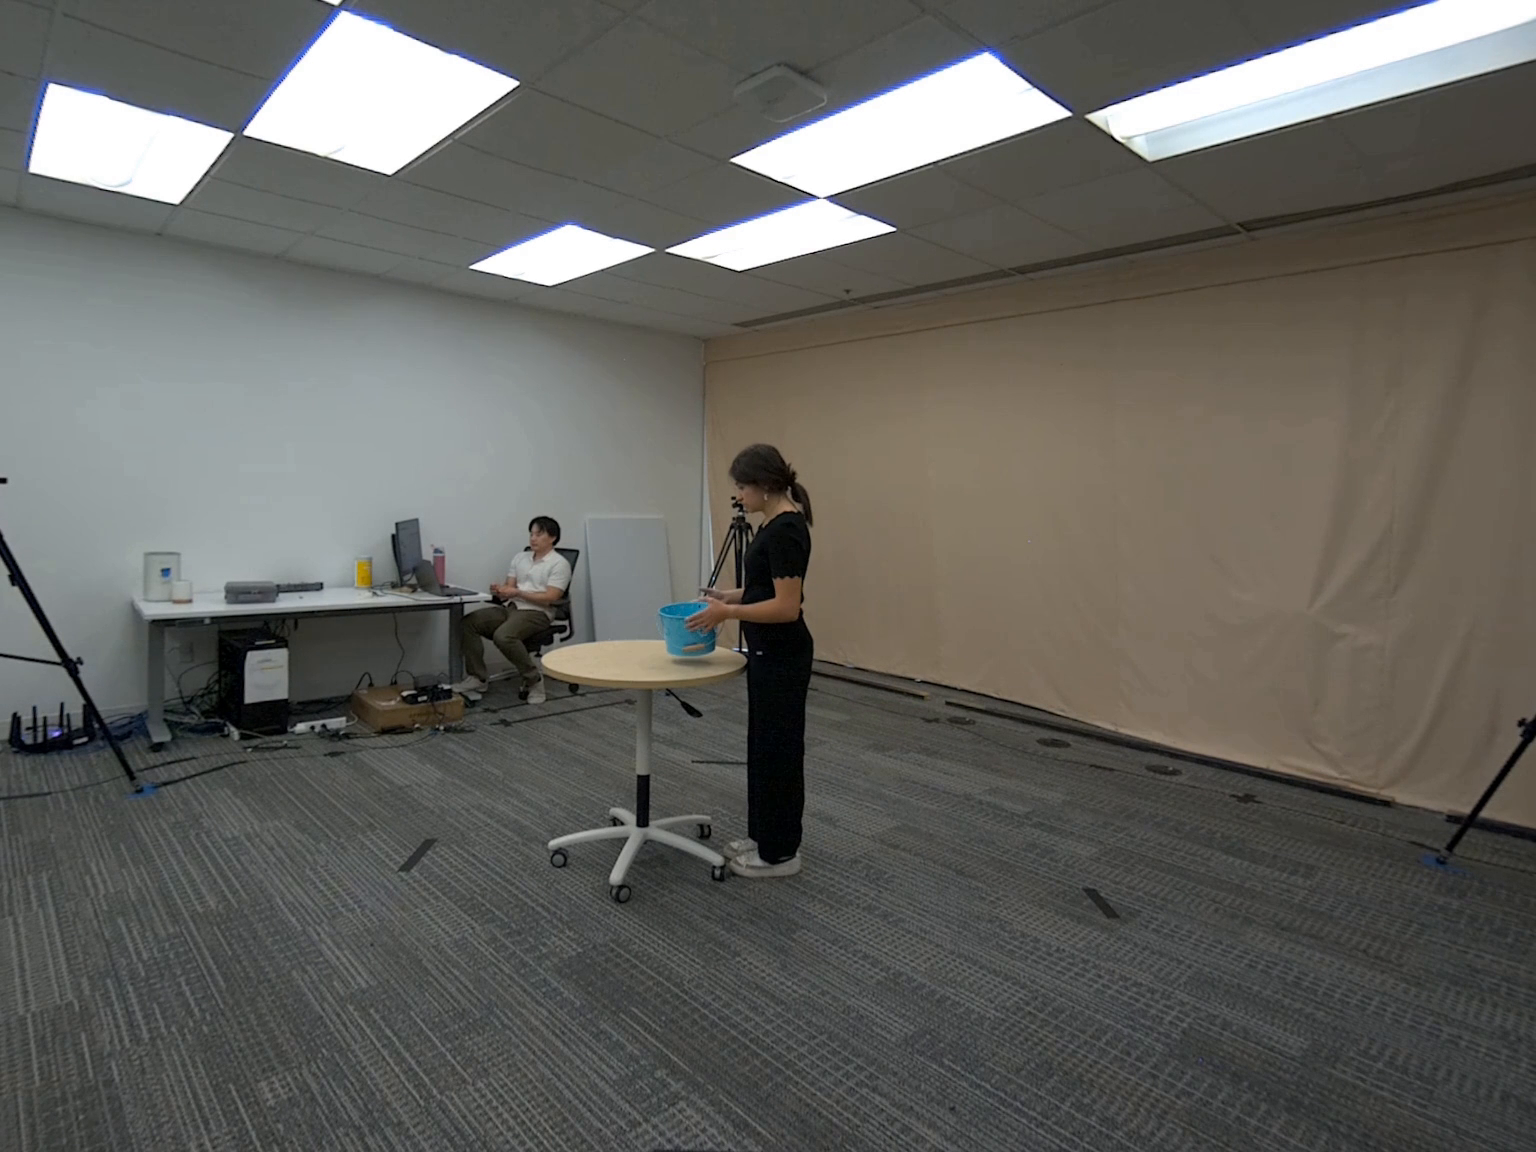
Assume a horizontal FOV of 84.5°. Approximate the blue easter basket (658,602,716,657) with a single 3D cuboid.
[{"bbox_3d":[-0.295,0.198,3.071,0.243,0.155,0.245,-2,9,-1],"label":"blue easter basket"}]
